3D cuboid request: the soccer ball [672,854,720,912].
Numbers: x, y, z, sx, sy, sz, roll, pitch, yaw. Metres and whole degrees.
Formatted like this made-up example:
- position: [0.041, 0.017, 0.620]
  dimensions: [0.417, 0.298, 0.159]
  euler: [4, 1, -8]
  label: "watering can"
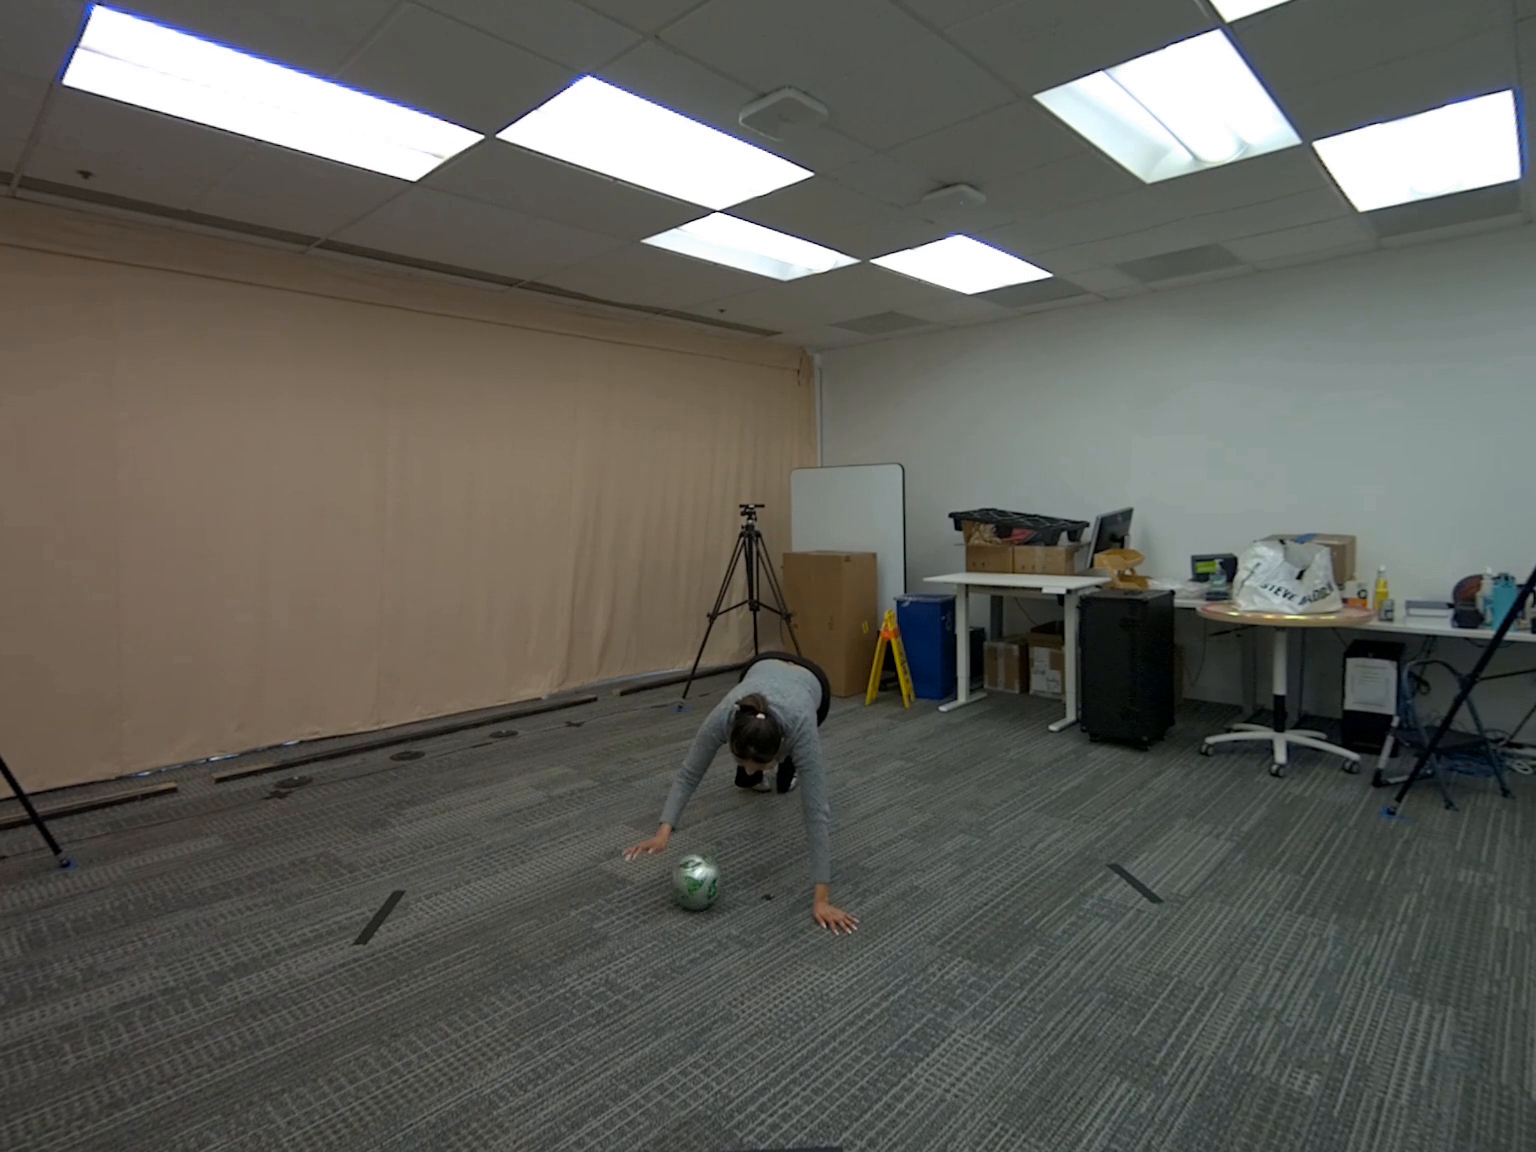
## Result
- position: [-0.245, 1.057, 2.920]
  dimensions: [0.187, 0.187, 0.188]
  euler: [-1, 4, -2]
  label: "soccer ball"
